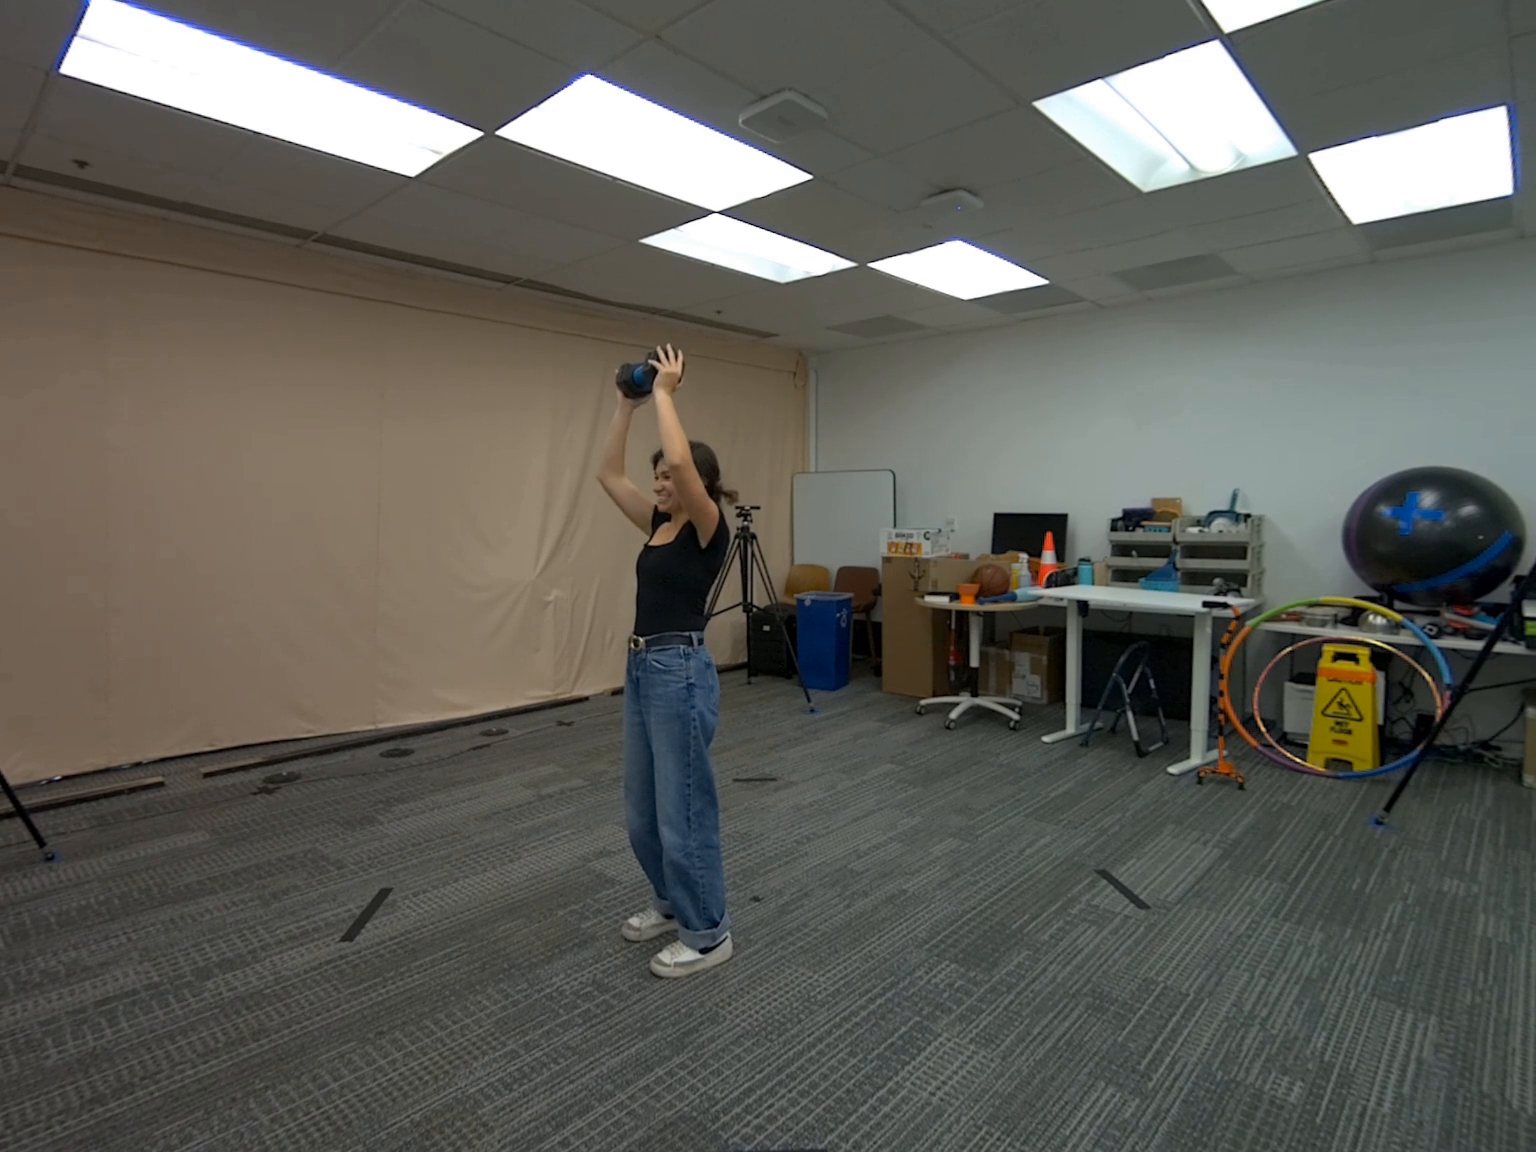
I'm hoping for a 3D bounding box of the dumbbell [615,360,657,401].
[{"bbox_3d":[-0.364,-0.616,2.587,0.108,0.120,0.302,-48,24,-21],"label":"dumbbell"}]
